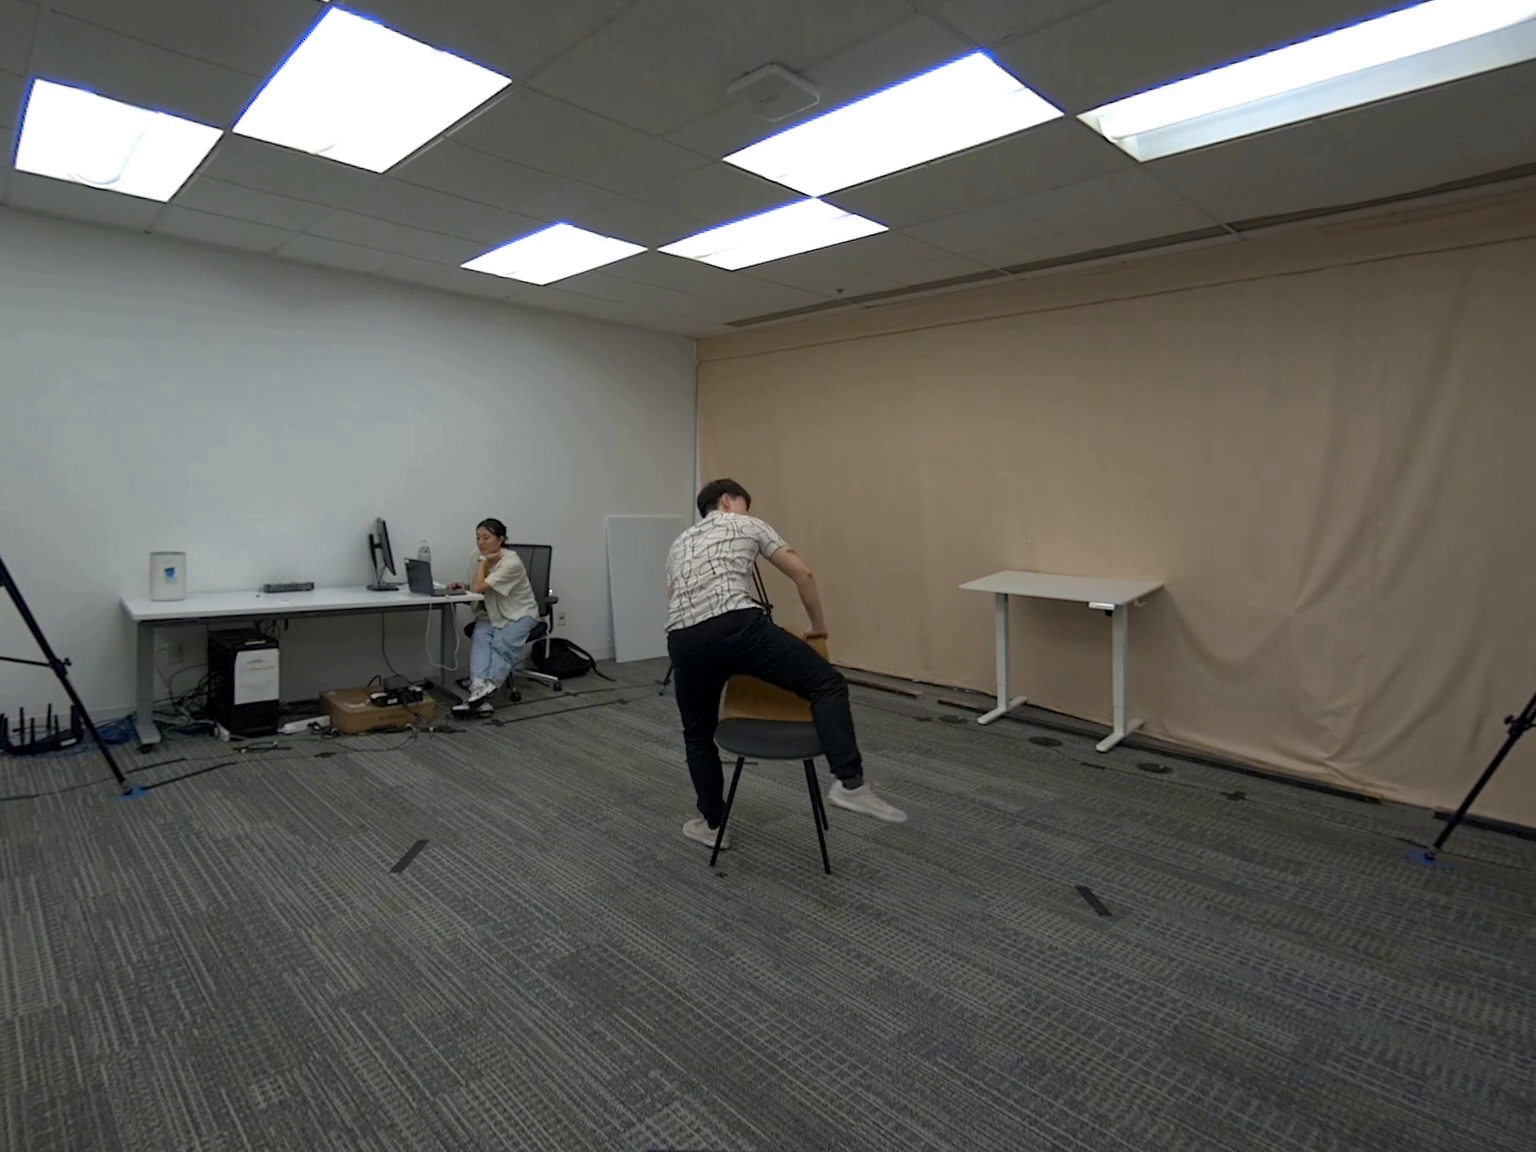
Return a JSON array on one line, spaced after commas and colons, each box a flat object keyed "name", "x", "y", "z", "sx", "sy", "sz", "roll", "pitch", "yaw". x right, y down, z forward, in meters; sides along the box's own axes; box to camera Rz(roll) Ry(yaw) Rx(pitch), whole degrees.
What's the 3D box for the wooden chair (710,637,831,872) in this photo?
[{"name": "wooden chair", "x": 0.027, "y": 0.660, "z": 3.337, "sx": 0.479, "sy": 0.879, "sz": 0.521, "roll": 2, "pitch": -2, "yaw": 3}]
